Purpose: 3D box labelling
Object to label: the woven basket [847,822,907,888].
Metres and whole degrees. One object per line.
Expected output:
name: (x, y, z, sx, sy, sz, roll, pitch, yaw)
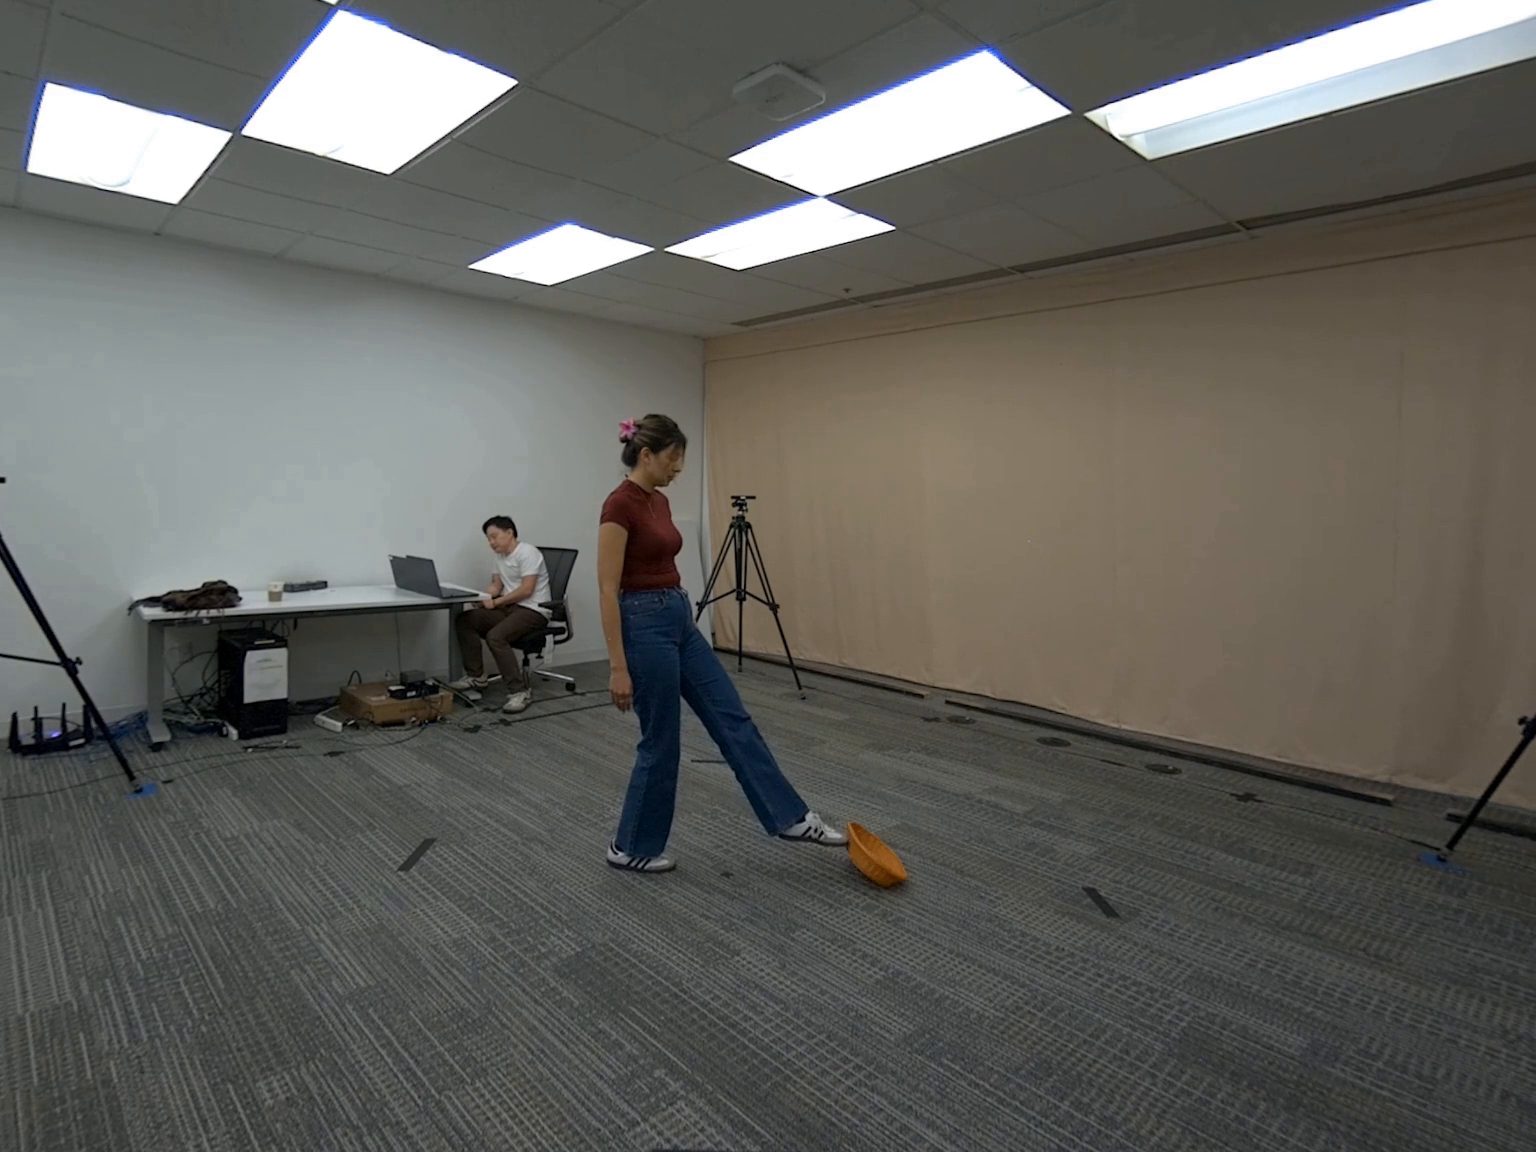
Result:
woven basket: (0.373, 1.041, 3.124, 0.252, 0.073, 0.351, 34, 2, -3)
